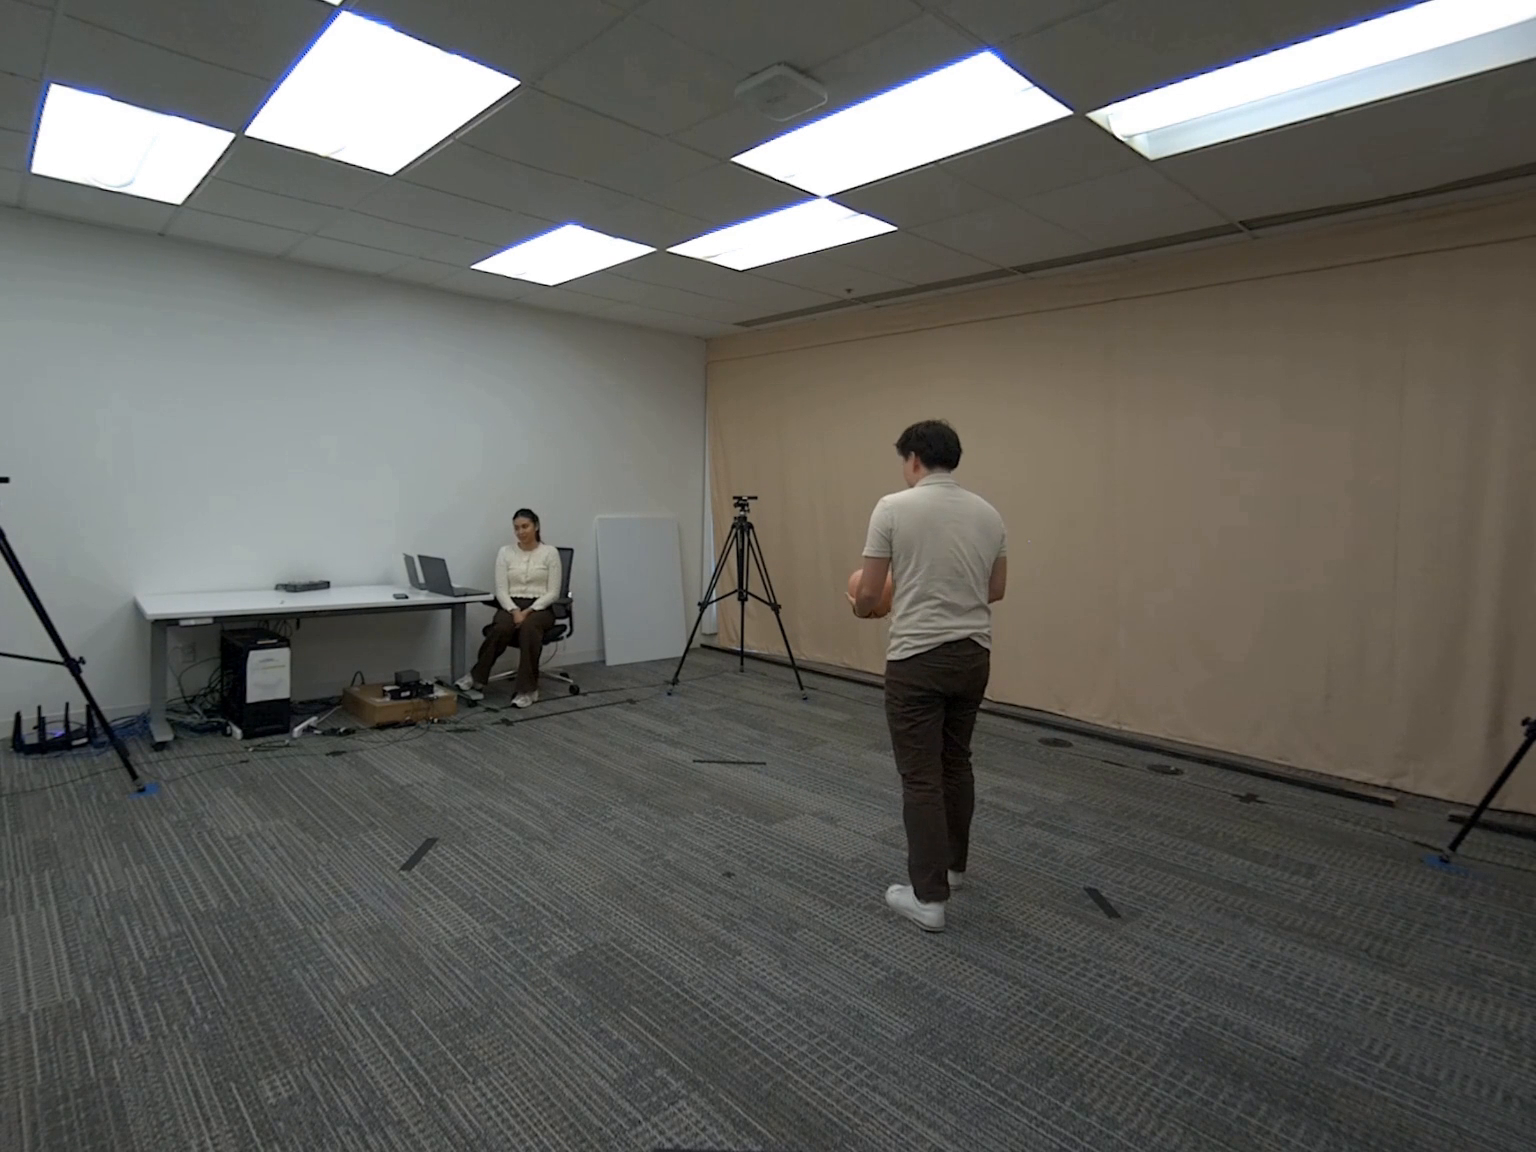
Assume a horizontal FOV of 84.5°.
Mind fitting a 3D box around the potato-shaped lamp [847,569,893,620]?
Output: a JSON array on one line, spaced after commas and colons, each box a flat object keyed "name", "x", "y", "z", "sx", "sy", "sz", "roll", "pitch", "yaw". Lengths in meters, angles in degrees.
[{"name": "potato-shaped lamp", "x": 0.398, "y": 0.053, "z": 3.169, "sx": 0.204, "sy": 0.170, "sz": 0.161, "roll": 28, "pitch": 21, "yaw": 34}]
